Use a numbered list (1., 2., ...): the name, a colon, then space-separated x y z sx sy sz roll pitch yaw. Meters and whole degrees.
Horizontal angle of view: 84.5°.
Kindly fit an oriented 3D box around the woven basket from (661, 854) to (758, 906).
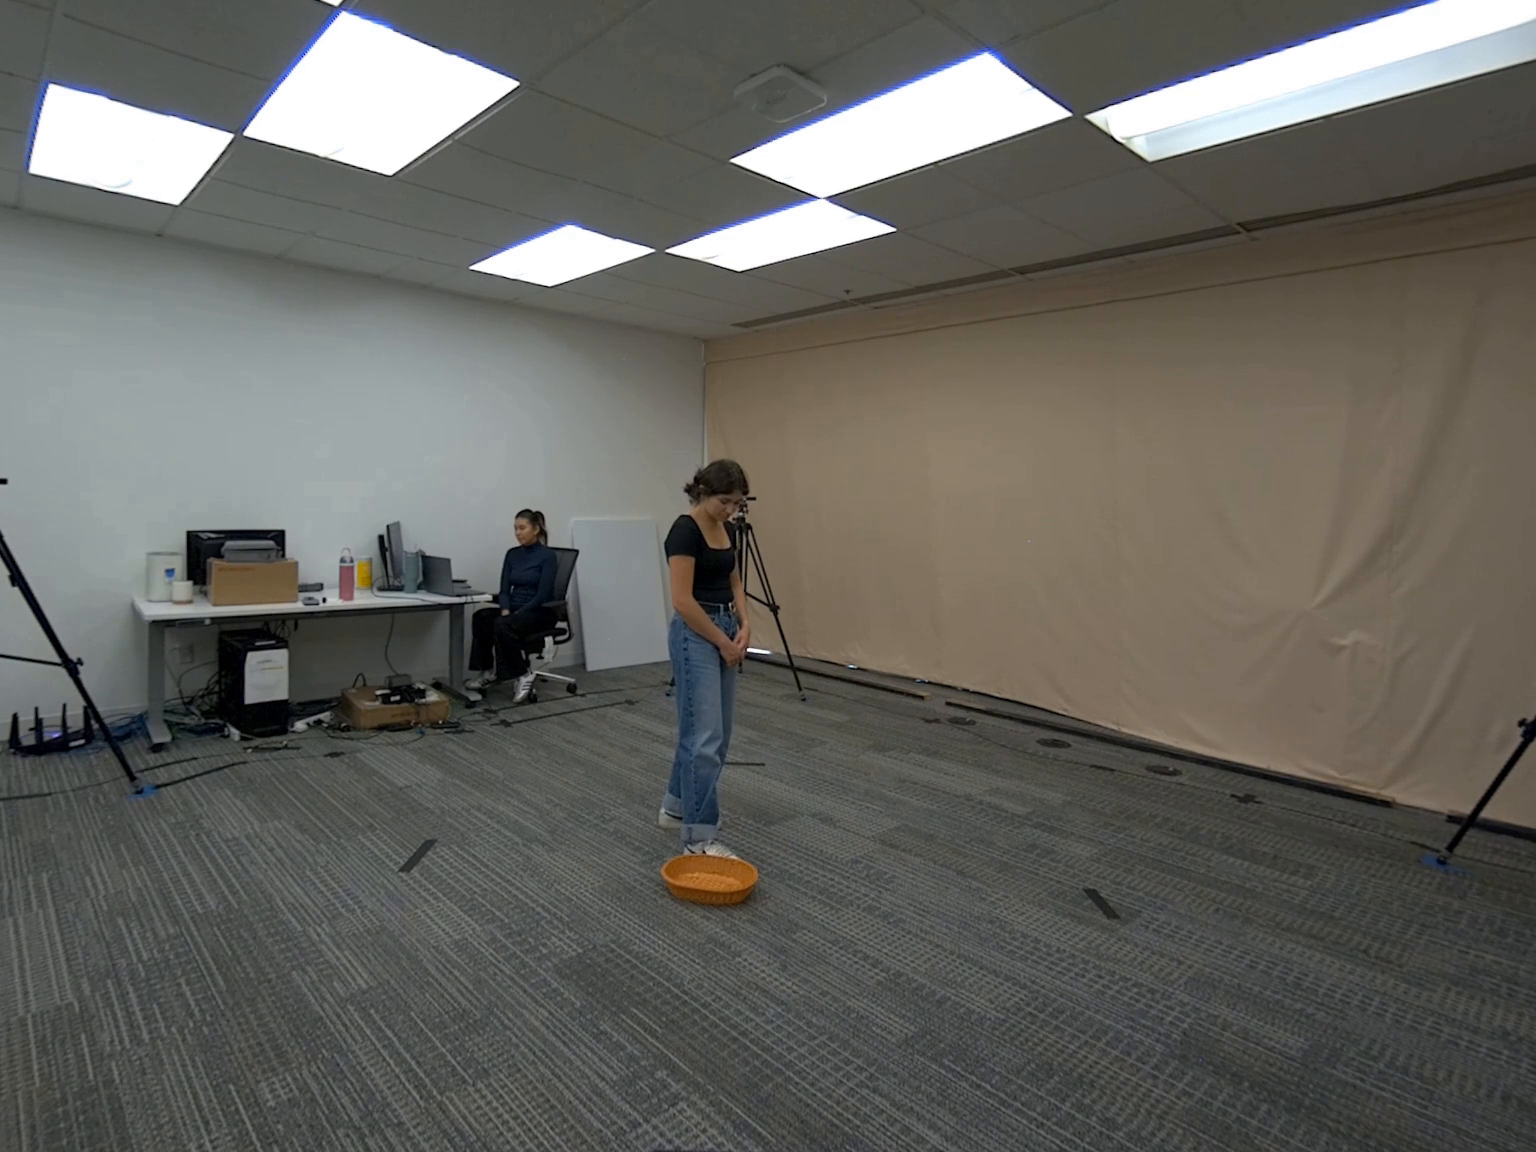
1. woven basket: -0.215 1.074 2.977 0.355 0.073 0.250 3 7 18
